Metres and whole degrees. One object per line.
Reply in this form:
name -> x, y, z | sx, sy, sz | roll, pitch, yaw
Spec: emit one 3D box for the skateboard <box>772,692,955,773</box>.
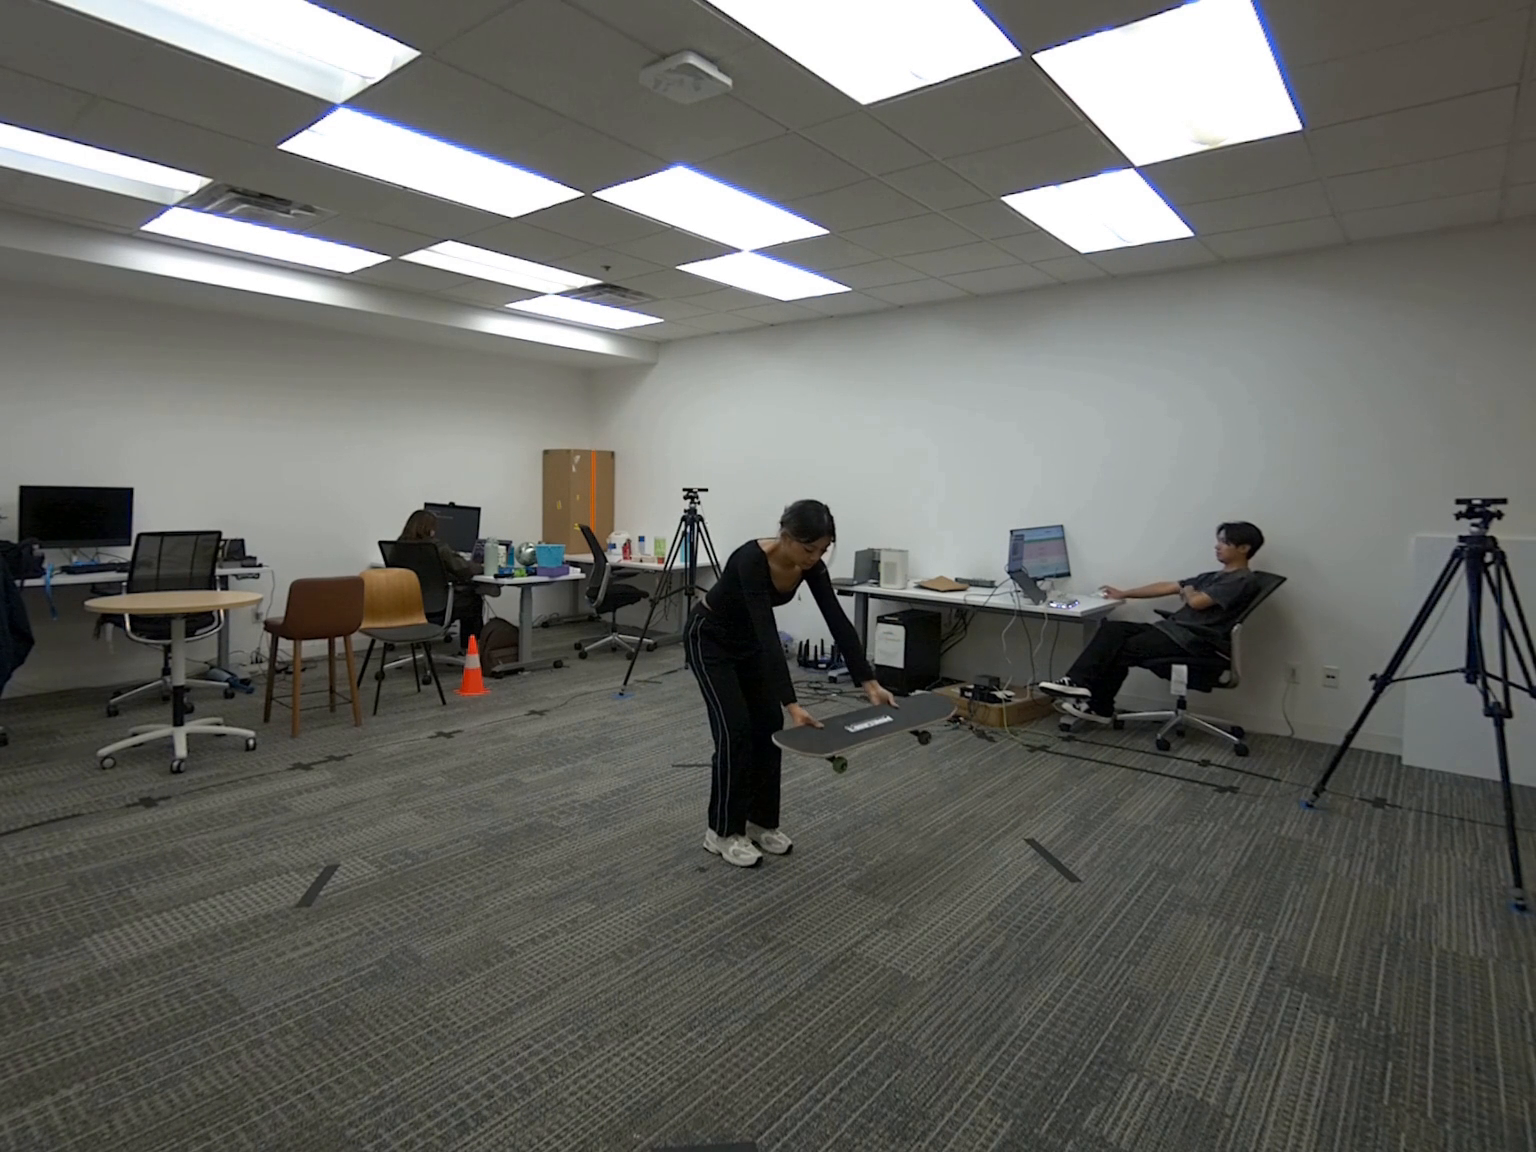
skateboard -> 0.331, 0.527, 2.820 | 0.764, 0.109, 0.201 | -7, 20, -37
